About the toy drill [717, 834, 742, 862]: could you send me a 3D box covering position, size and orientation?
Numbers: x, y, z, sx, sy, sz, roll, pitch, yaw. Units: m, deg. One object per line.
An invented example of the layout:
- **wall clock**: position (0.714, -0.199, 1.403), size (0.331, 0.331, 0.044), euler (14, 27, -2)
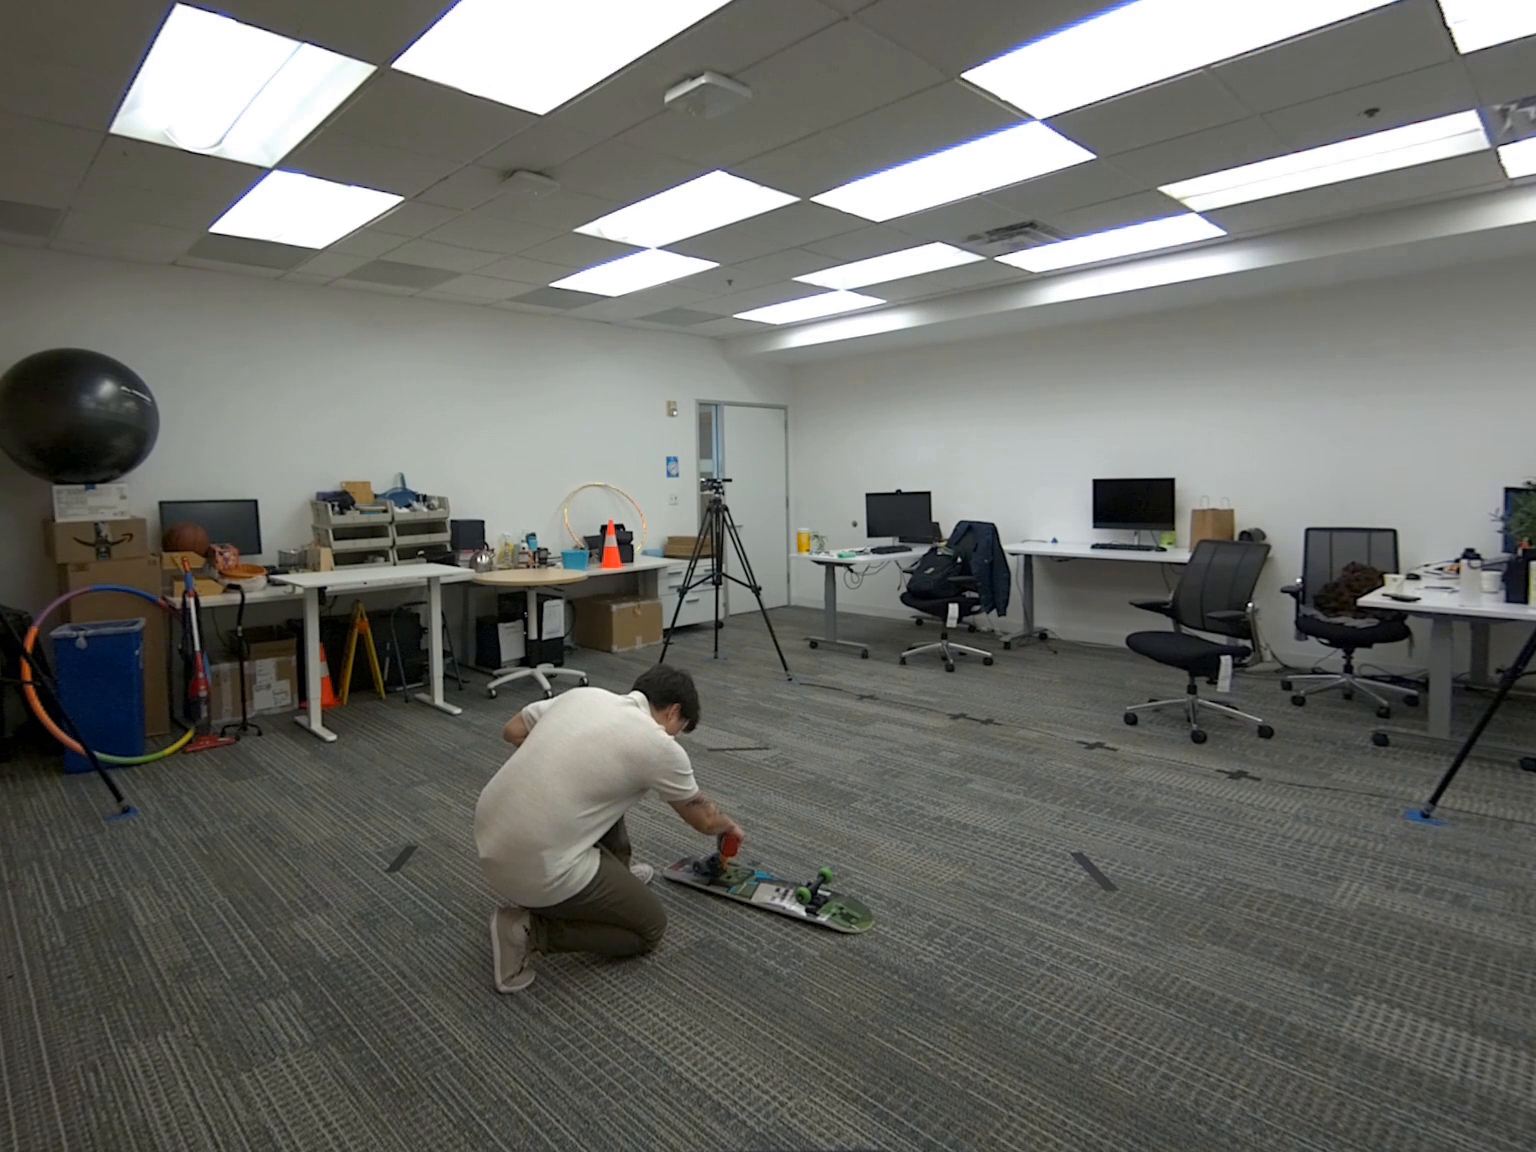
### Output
- **toy drill**: position (-0.141, 0.927, 2.918), size (0.061, 0.170, 0.146), euler (5, -1, -2)
